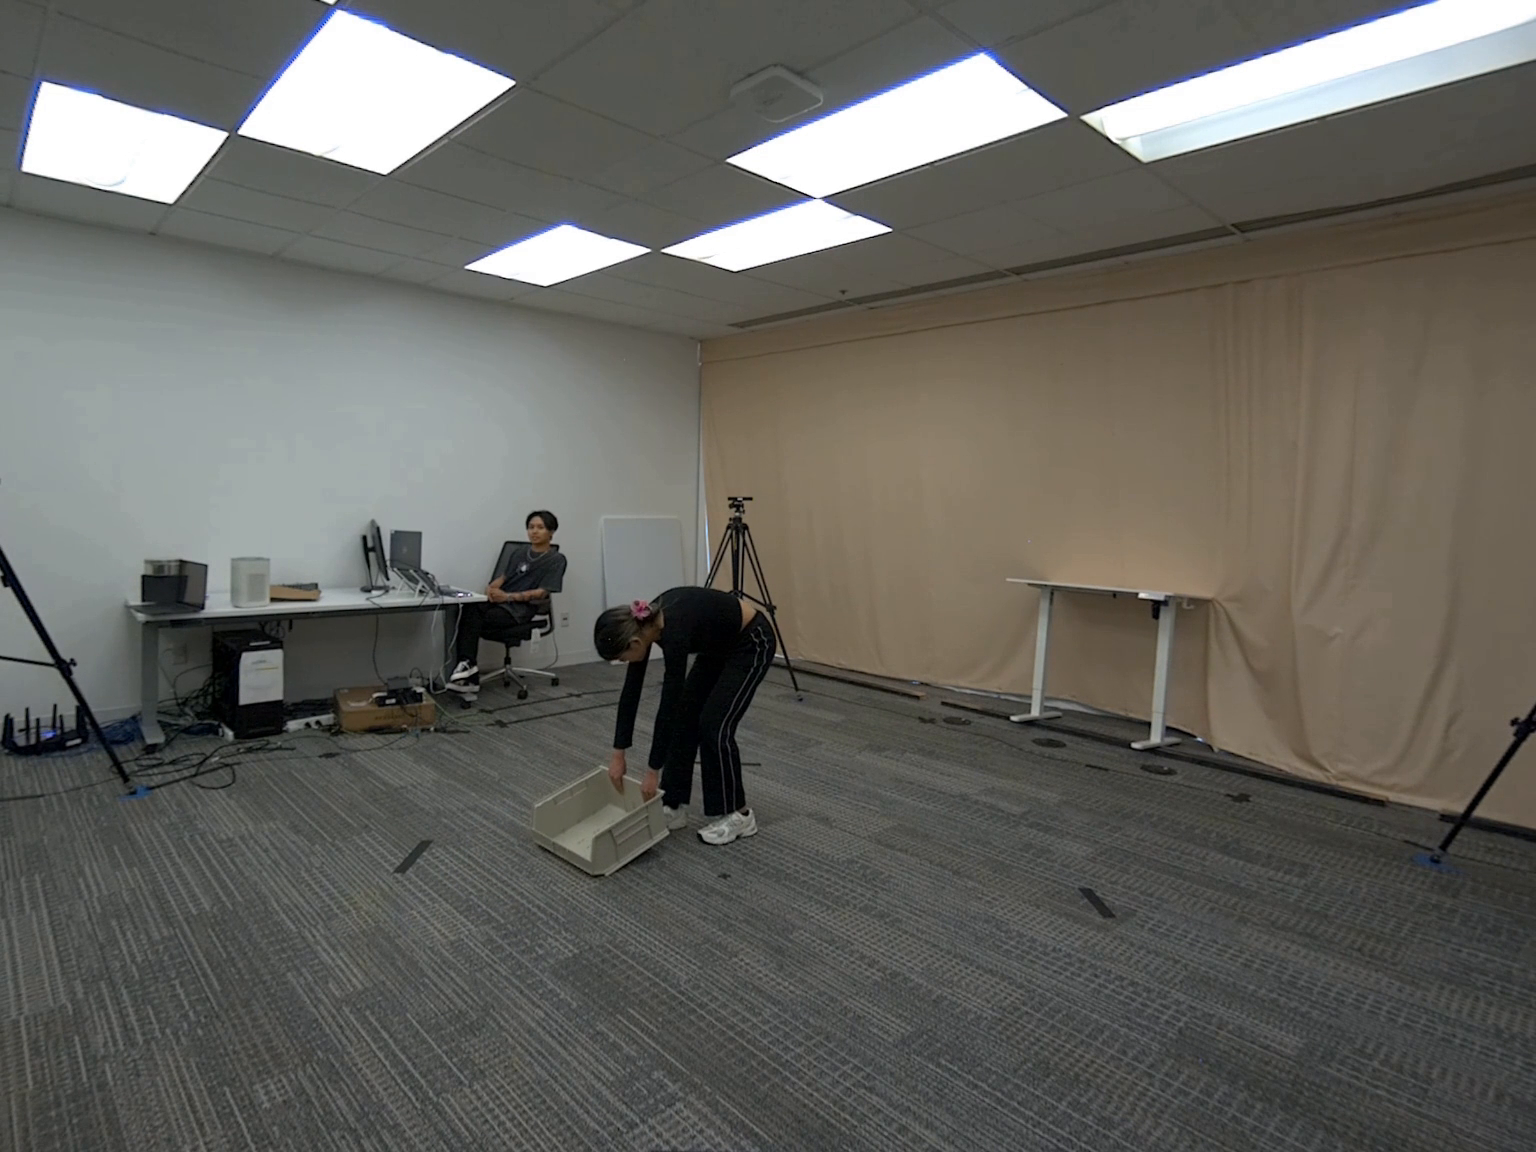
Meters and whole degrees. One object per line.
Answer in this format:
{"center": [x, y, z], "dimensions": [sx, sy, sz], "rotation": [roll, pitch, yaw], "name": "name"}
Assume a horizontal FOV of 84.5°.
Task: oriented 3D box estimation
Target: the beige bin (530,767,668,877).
{"center": [-0.670, 0.959, 3.285], "dimensions": [0.433, 0.187, 0.372], "rotation": [5, 19, 44], "name": "beige bin"}
